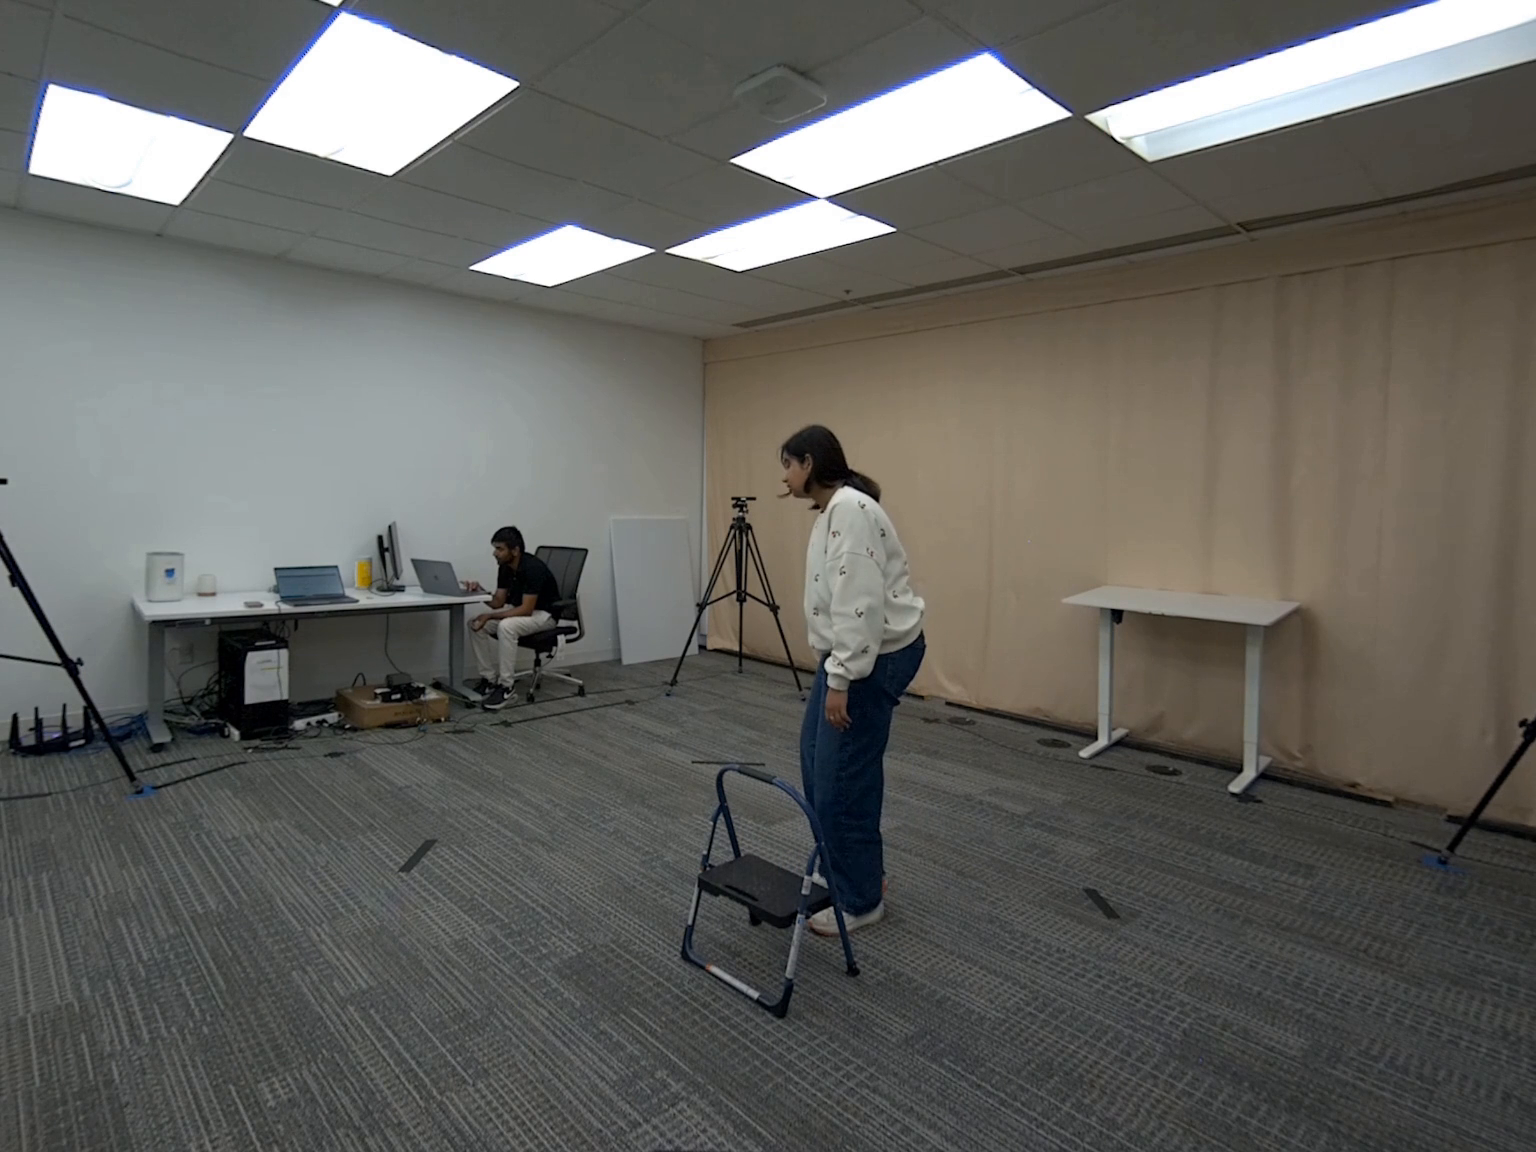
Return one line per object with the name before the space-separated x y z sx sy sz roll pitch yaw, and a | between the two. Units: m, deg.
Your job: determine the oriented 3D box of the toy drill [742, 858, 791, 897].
toy drill | -0.009 1.091 3.072 0.145 0.061 0.171 2 5 -9
